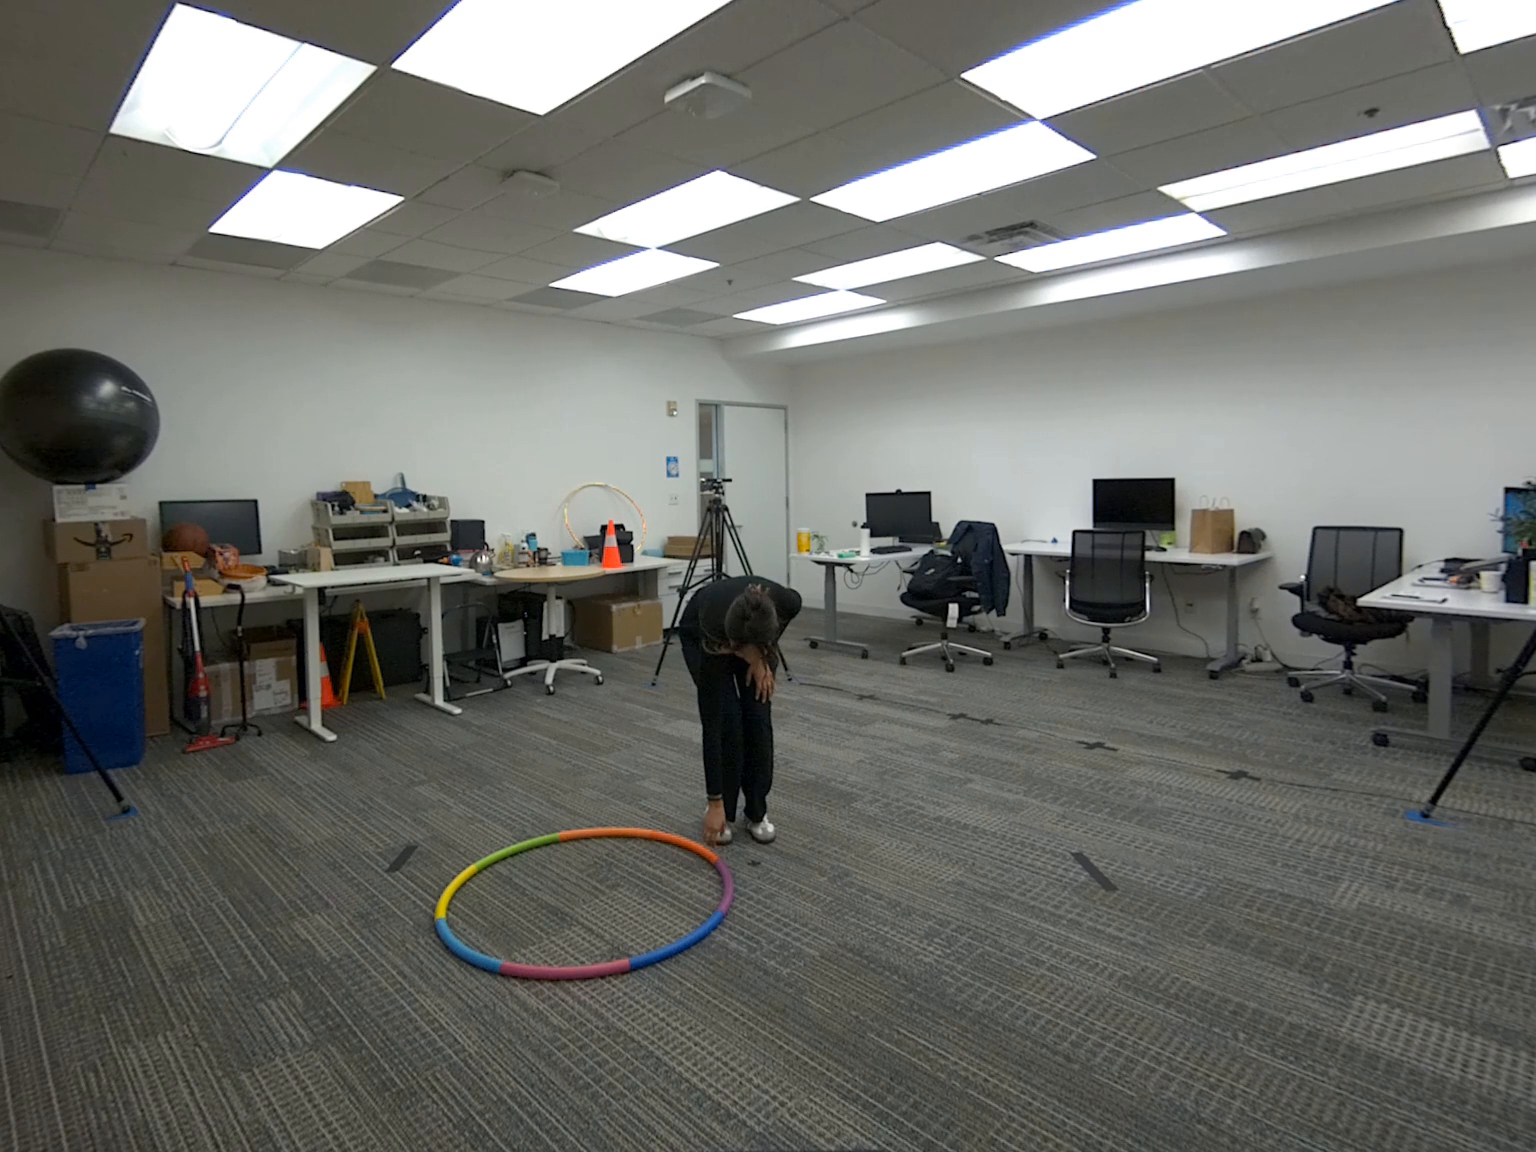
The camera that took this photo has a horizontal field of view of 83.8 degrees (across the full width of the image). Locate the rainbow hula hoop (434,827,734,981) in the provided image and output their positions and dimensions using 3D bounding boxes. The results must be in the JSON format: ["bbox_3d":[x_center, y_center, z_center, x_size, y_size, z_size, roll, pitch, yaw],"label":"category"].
[{"bbox_3d":[-0.598,1.052,2.886,0.978,0.035,0.984,-1,7,-2],"label":"rainbow hula hoop"}]
